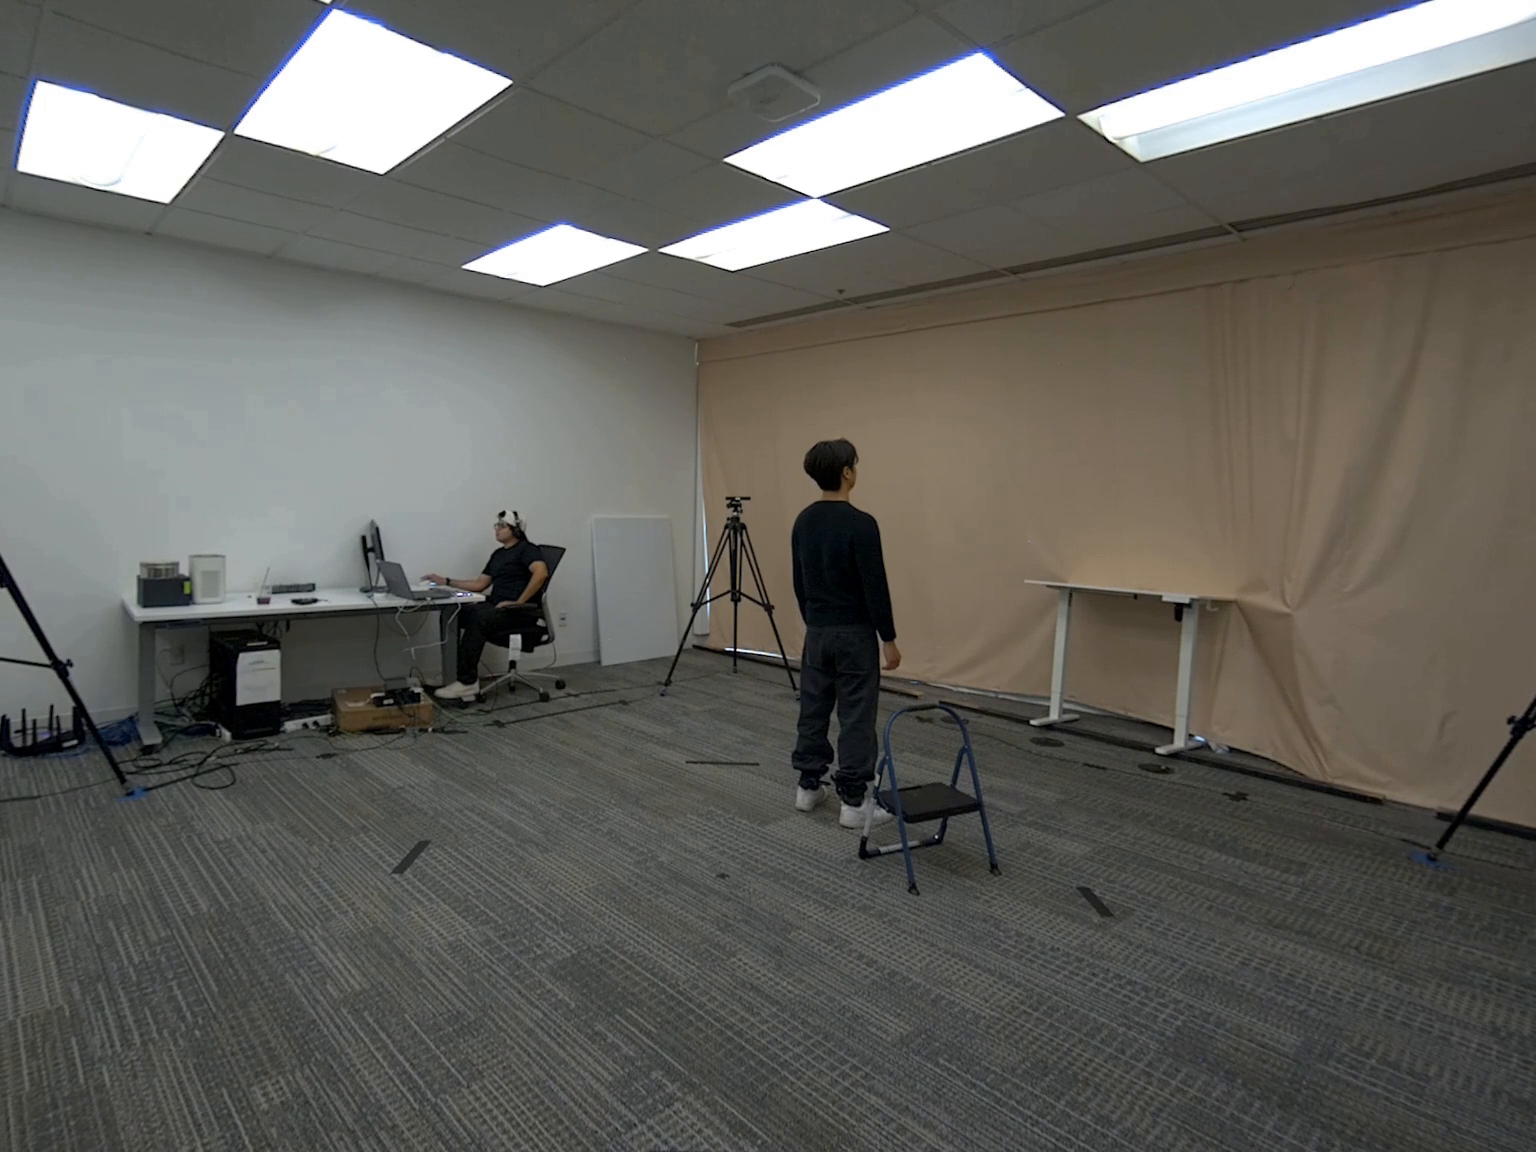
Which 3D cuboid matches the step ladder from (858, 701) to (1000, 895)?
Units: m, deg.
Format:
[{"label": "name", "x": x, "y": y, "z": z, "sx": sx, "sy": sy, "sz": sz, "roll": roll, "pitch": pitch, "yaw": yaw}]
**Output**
[{"label": "step ladder", "x": 0.615, "y": 0.809, "z": 3.222, "sx": 0.422, "sy": 0.605, "sz": 0.357, "roll": 0, "pitch": 3, "yaw": -29}]
